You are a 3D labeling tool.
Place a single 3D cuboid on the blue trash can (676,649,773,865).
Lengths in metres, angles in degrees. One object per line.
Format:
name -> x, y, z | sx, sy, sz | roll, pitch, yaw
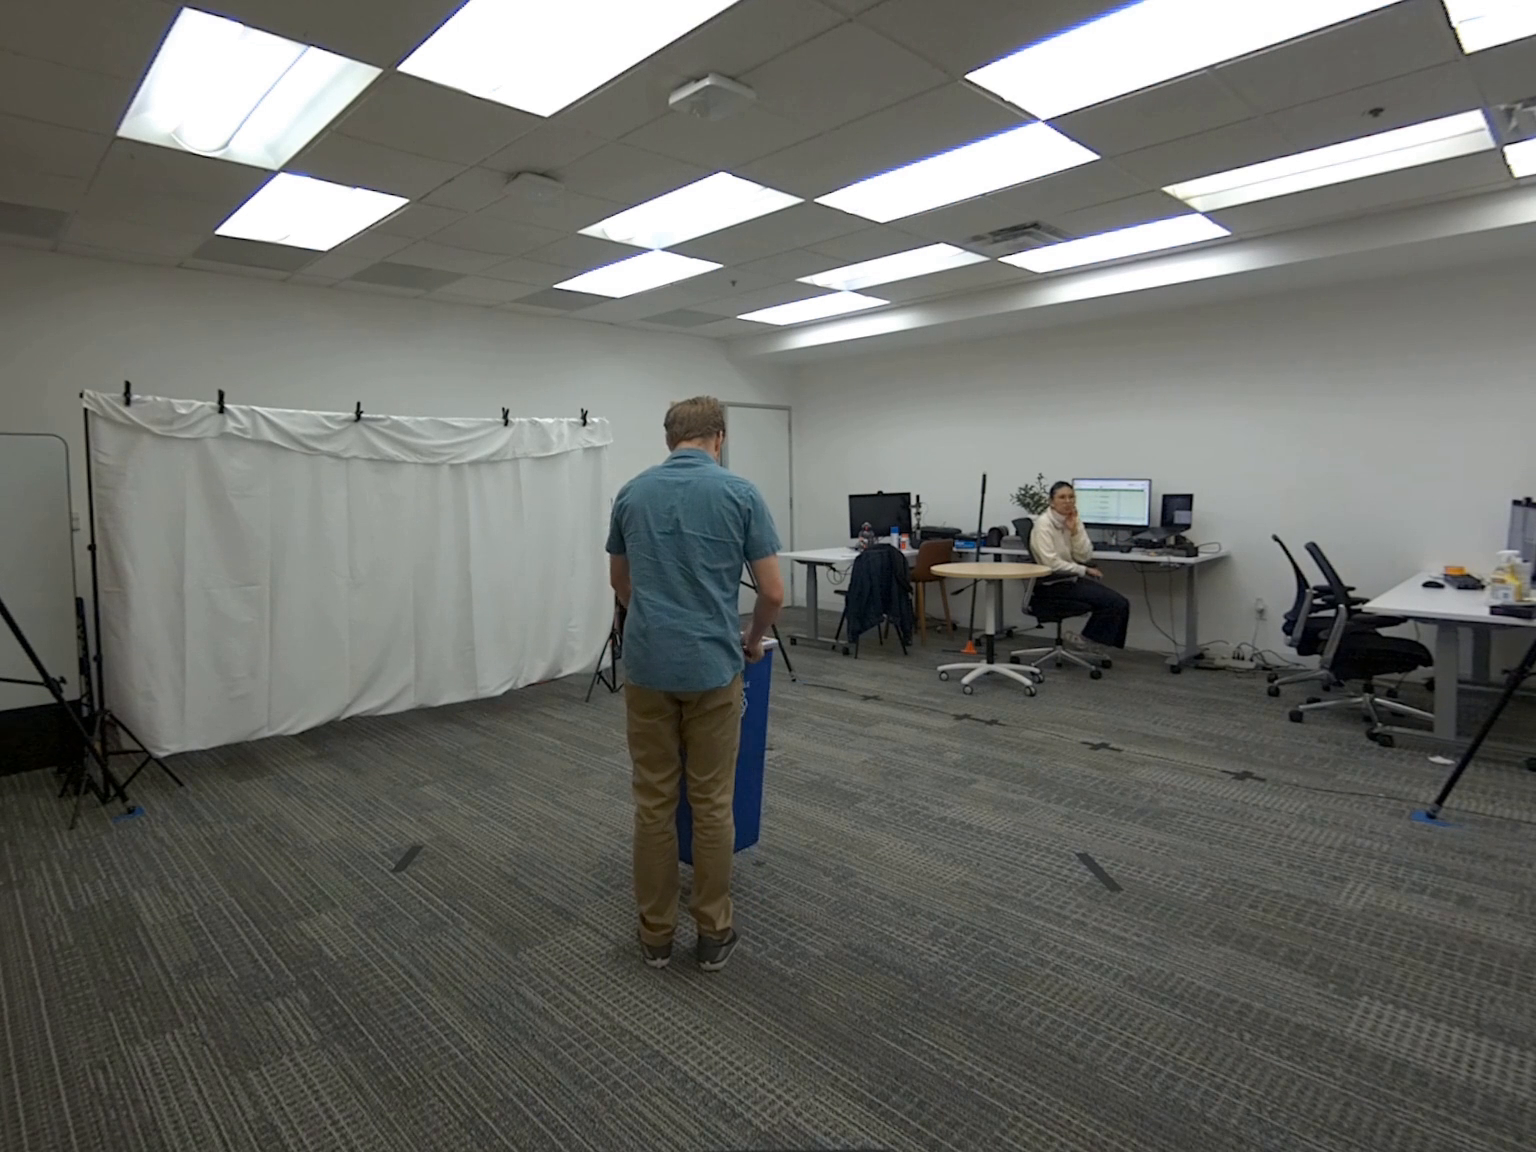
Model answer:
blue trash can -> -0.211, 0.568, 2.924 | 0.386, 0.710, 0.368 | 6, 6, 41
